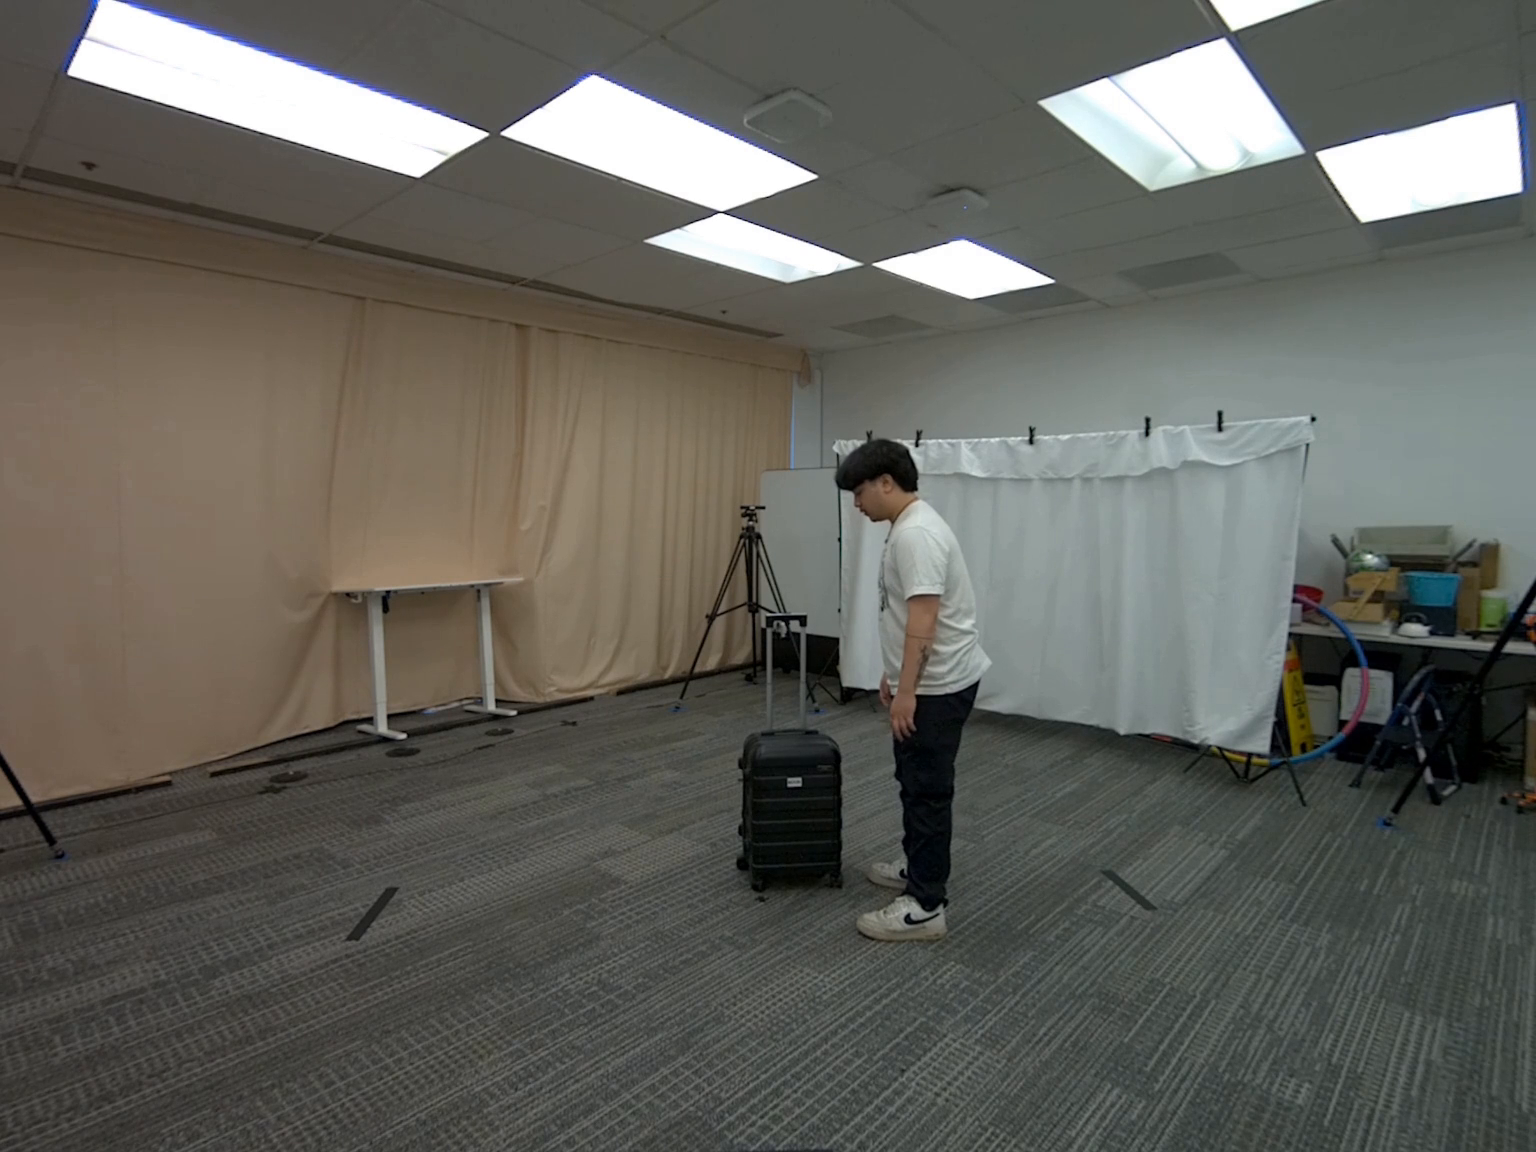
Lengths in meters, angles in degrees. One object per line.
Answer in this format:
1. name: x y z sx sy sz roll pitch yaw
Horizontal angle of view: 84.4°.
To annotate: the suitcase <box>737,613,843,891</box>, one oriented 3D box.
1. suitcase: 0.092 0.660 3.114 0.382 0.974 0.260 0 6 -6
